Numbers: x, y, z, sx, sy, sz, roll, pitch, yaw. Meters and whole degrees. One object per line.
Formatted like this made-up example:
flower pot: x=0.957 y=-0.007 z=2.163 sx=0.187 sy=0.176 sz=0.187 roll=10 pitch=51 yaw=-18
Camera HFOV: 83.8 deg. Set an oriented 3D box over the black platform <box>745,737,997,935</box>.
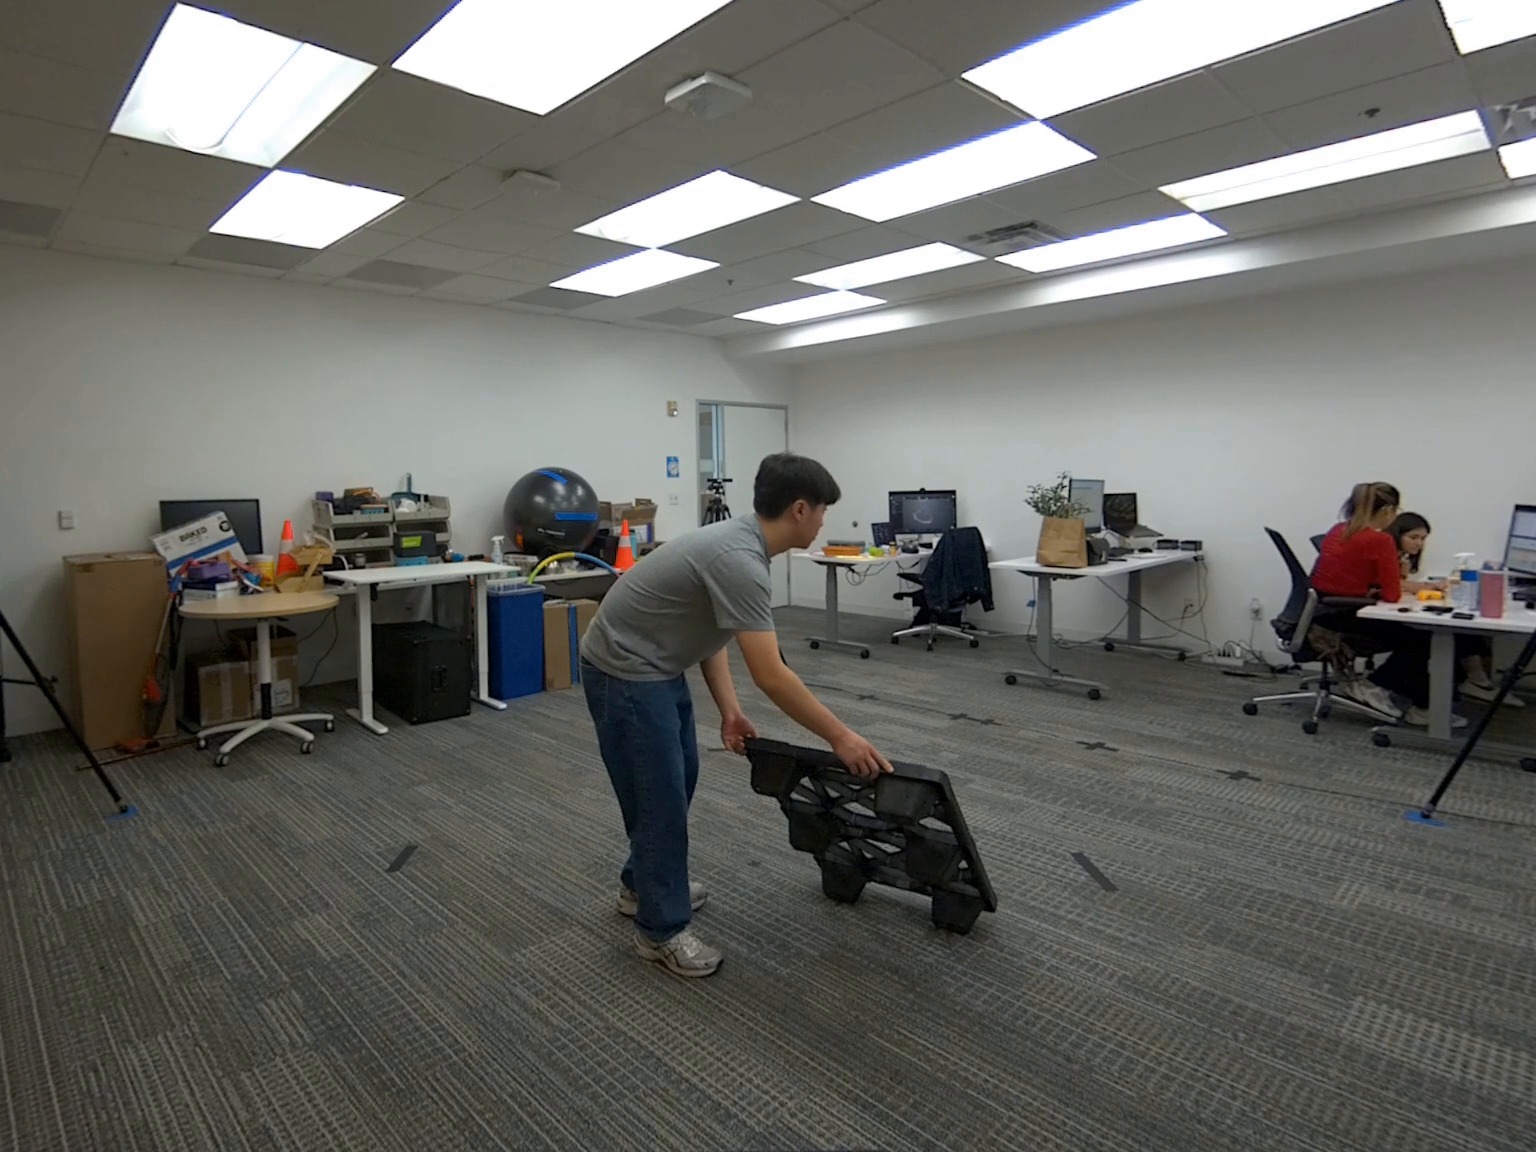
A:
black platform: x=0.303 y=0.792 z=2.540 sx=0.621 sy=0.776 sz=0.145 roll=2 pitch=48 yaw=31
